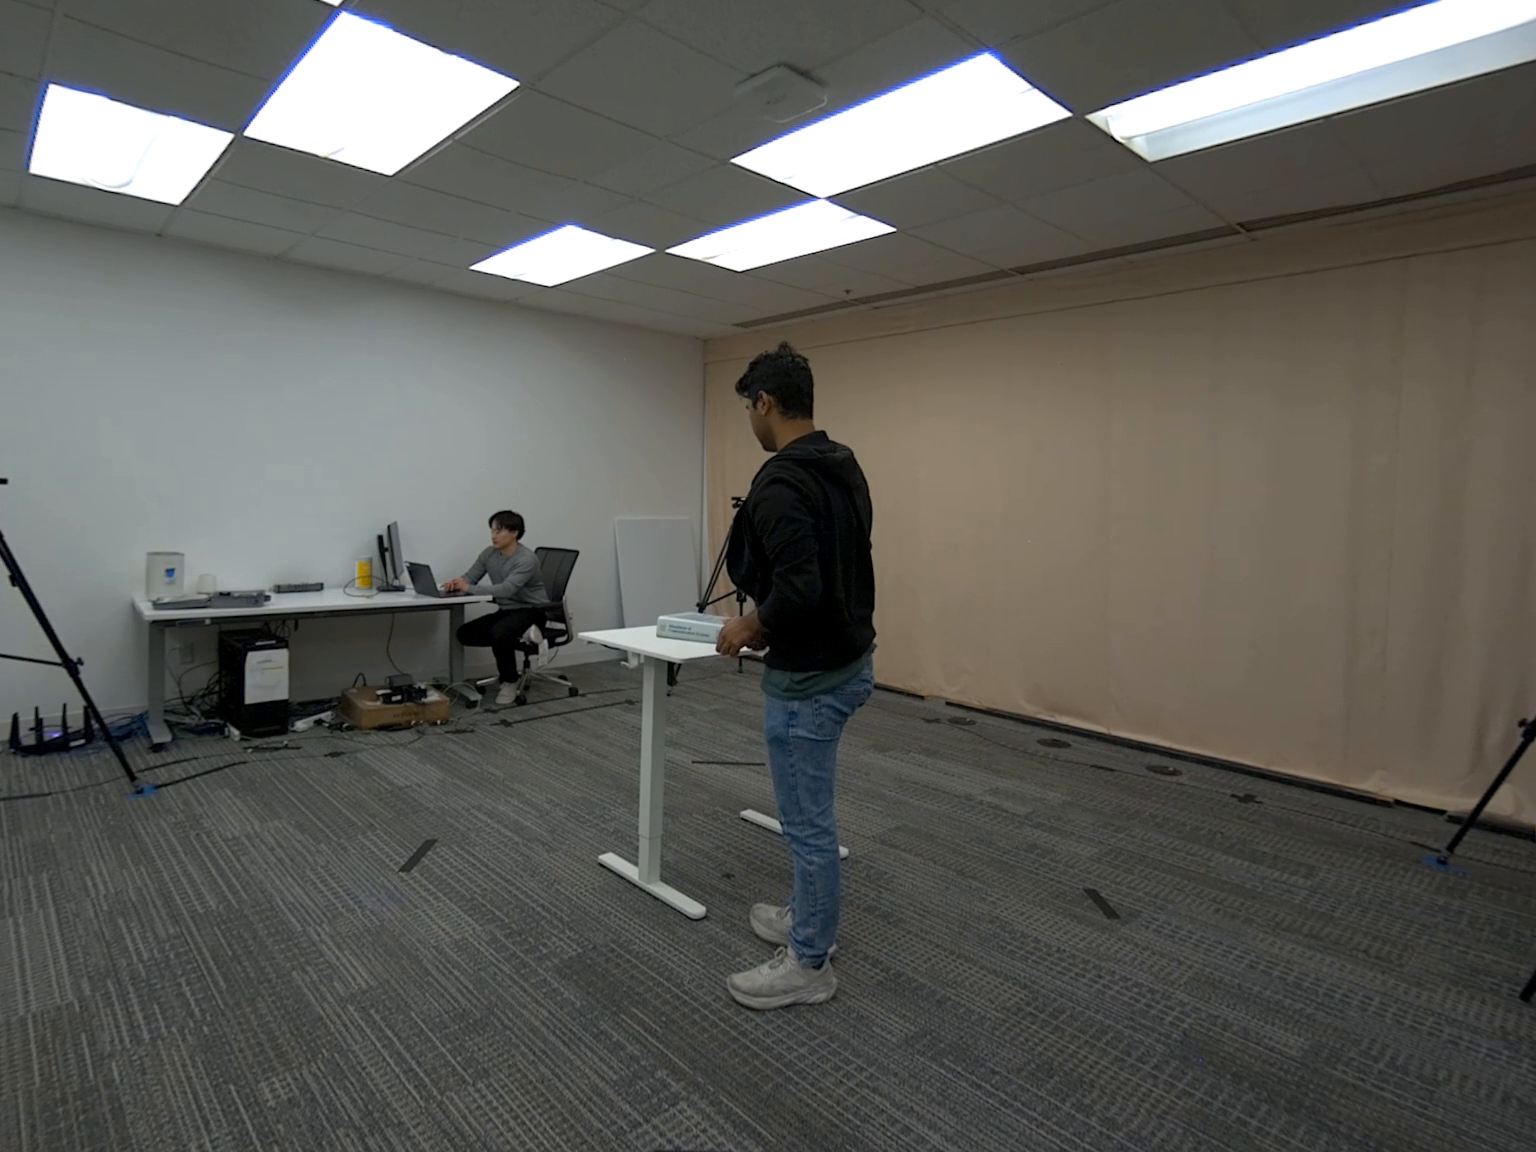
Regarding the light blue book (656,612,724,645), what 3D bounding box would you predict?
[{"bbox_3d":[-0.176,0.162,2.484,0.266,0.059,0.188,5,3,26],"label":"light blue book"}]
